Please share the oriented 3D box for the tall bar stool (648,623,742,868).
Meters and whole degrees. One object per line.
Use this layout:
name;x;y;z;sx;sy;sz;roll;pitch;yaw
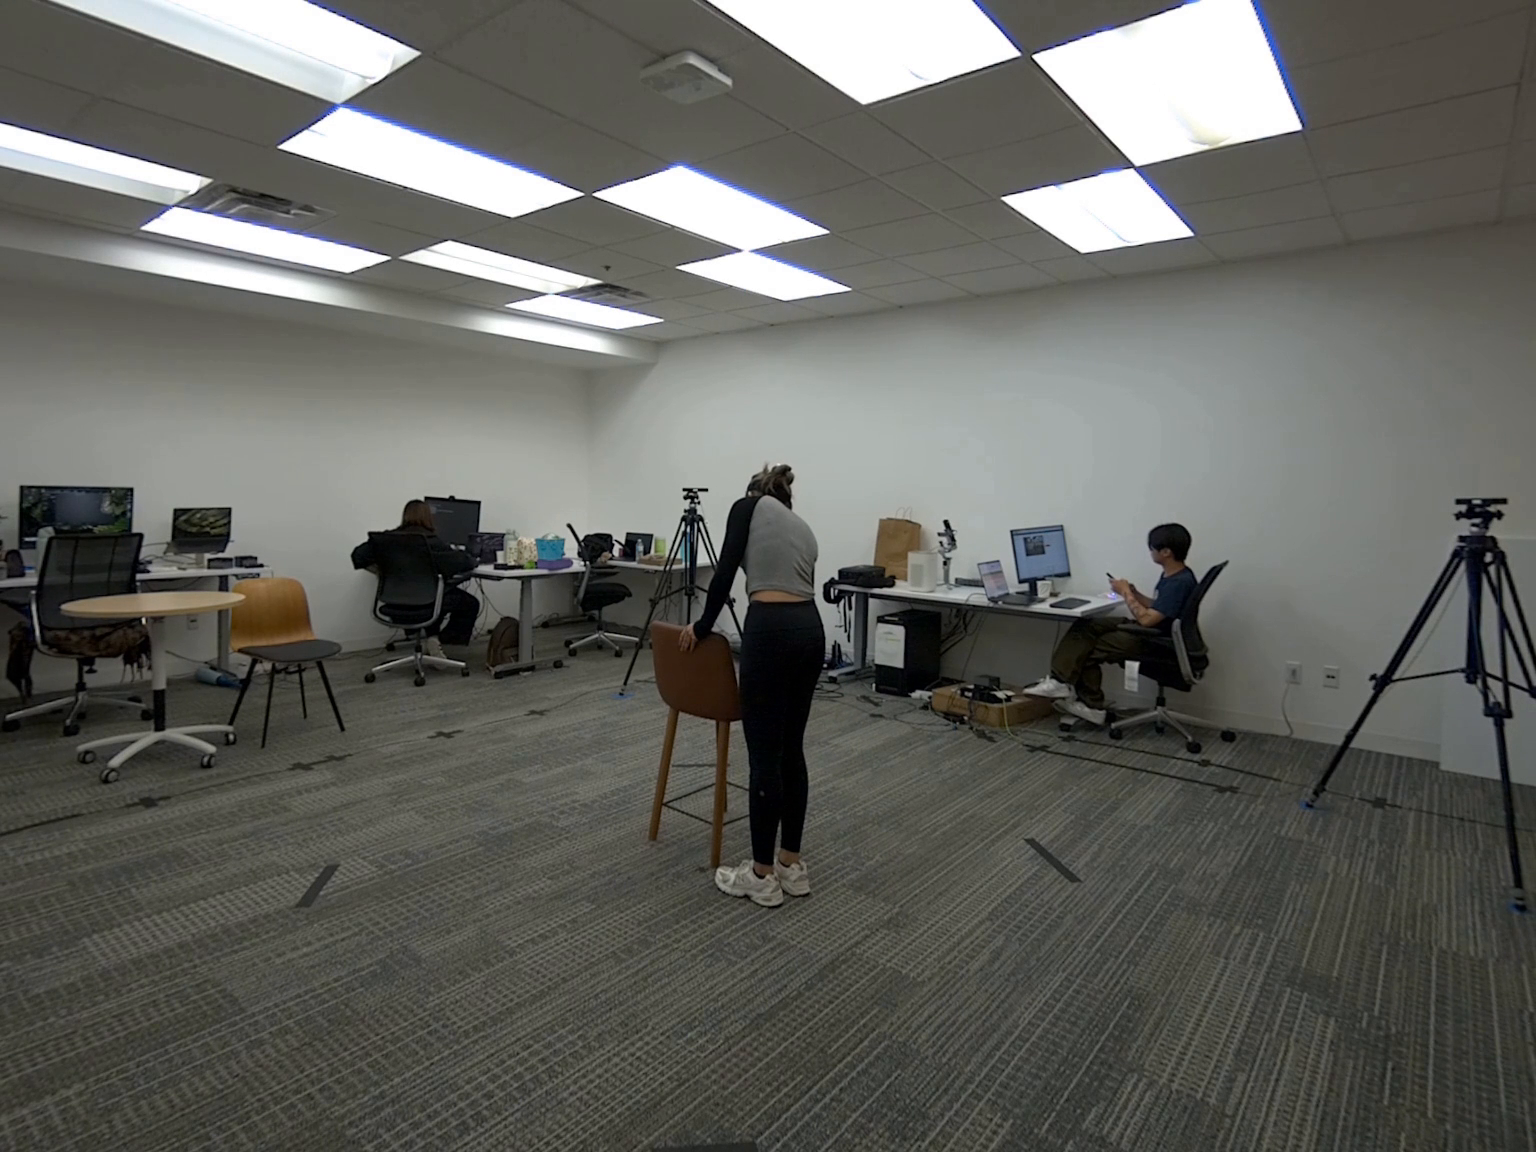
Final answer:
tall bar stool;-0.200;0.606;3.378;0.472;0.886;0.454;4;6;42
